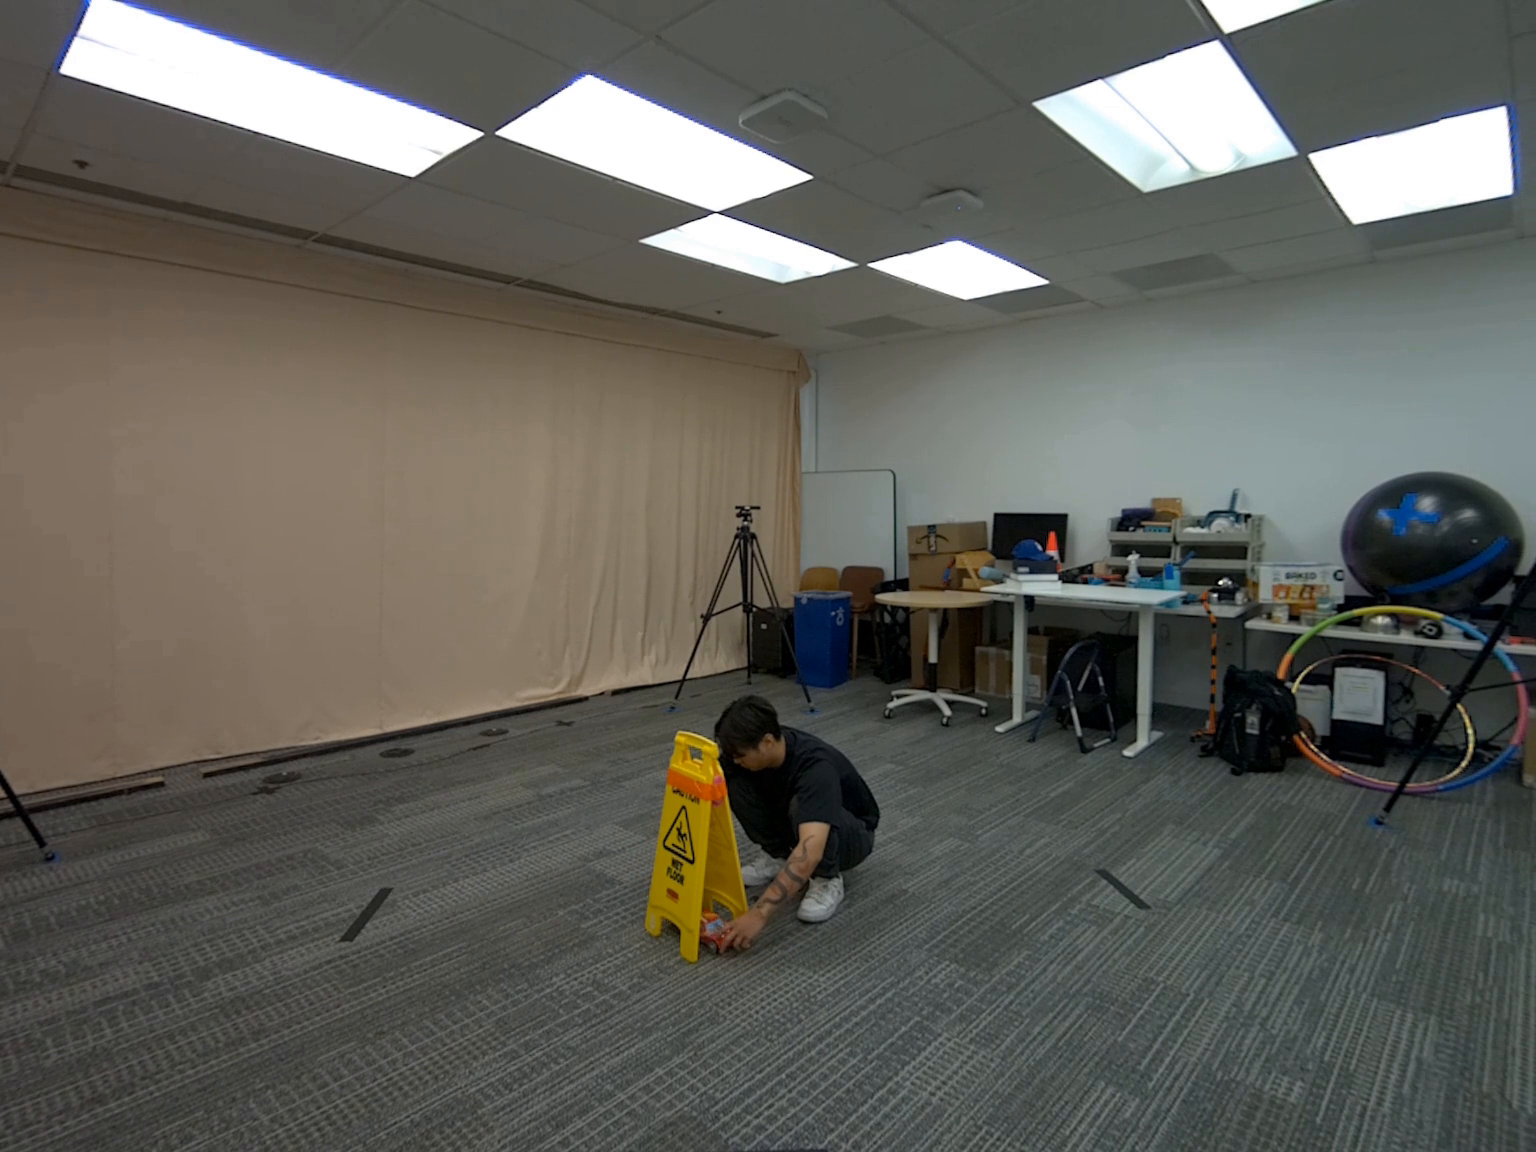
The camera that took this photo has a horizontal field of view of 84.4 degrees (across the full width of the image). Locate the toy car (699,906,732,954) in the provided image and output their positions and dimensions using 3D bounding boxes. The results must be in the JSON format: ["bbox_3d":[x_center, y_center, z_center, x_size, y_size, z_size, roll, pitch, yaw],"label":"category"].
[{"bbox_3d":[-0.212,1.142,2.719,0.264,0.083,0.126,15,14,42],"label":"toy car"}]
